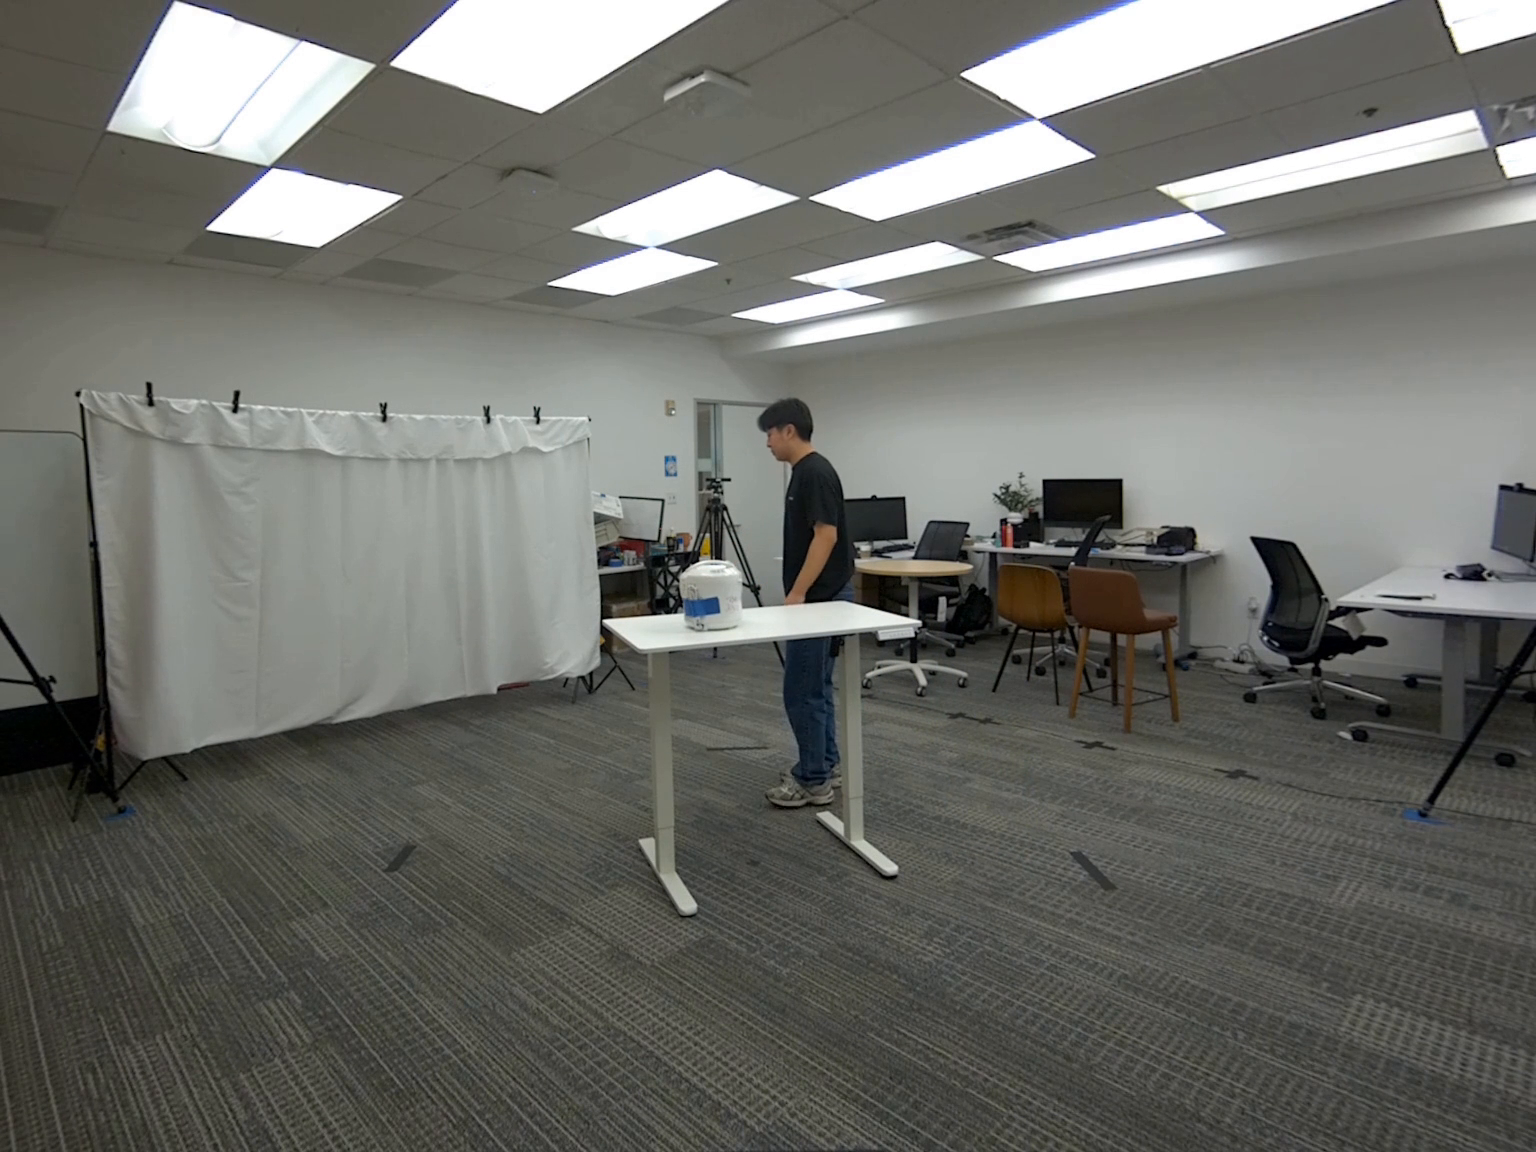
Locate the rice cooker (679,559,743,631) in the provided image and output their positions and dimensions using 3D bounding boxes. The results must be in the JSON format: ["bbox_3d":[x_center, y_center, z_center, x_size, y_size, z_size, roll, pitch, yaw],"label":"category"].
[{"bbox_3d":[-0.192,0.060,2.977,0.217,0.232,0.222,-2,5,-18],"label":"rice cooker"}]
